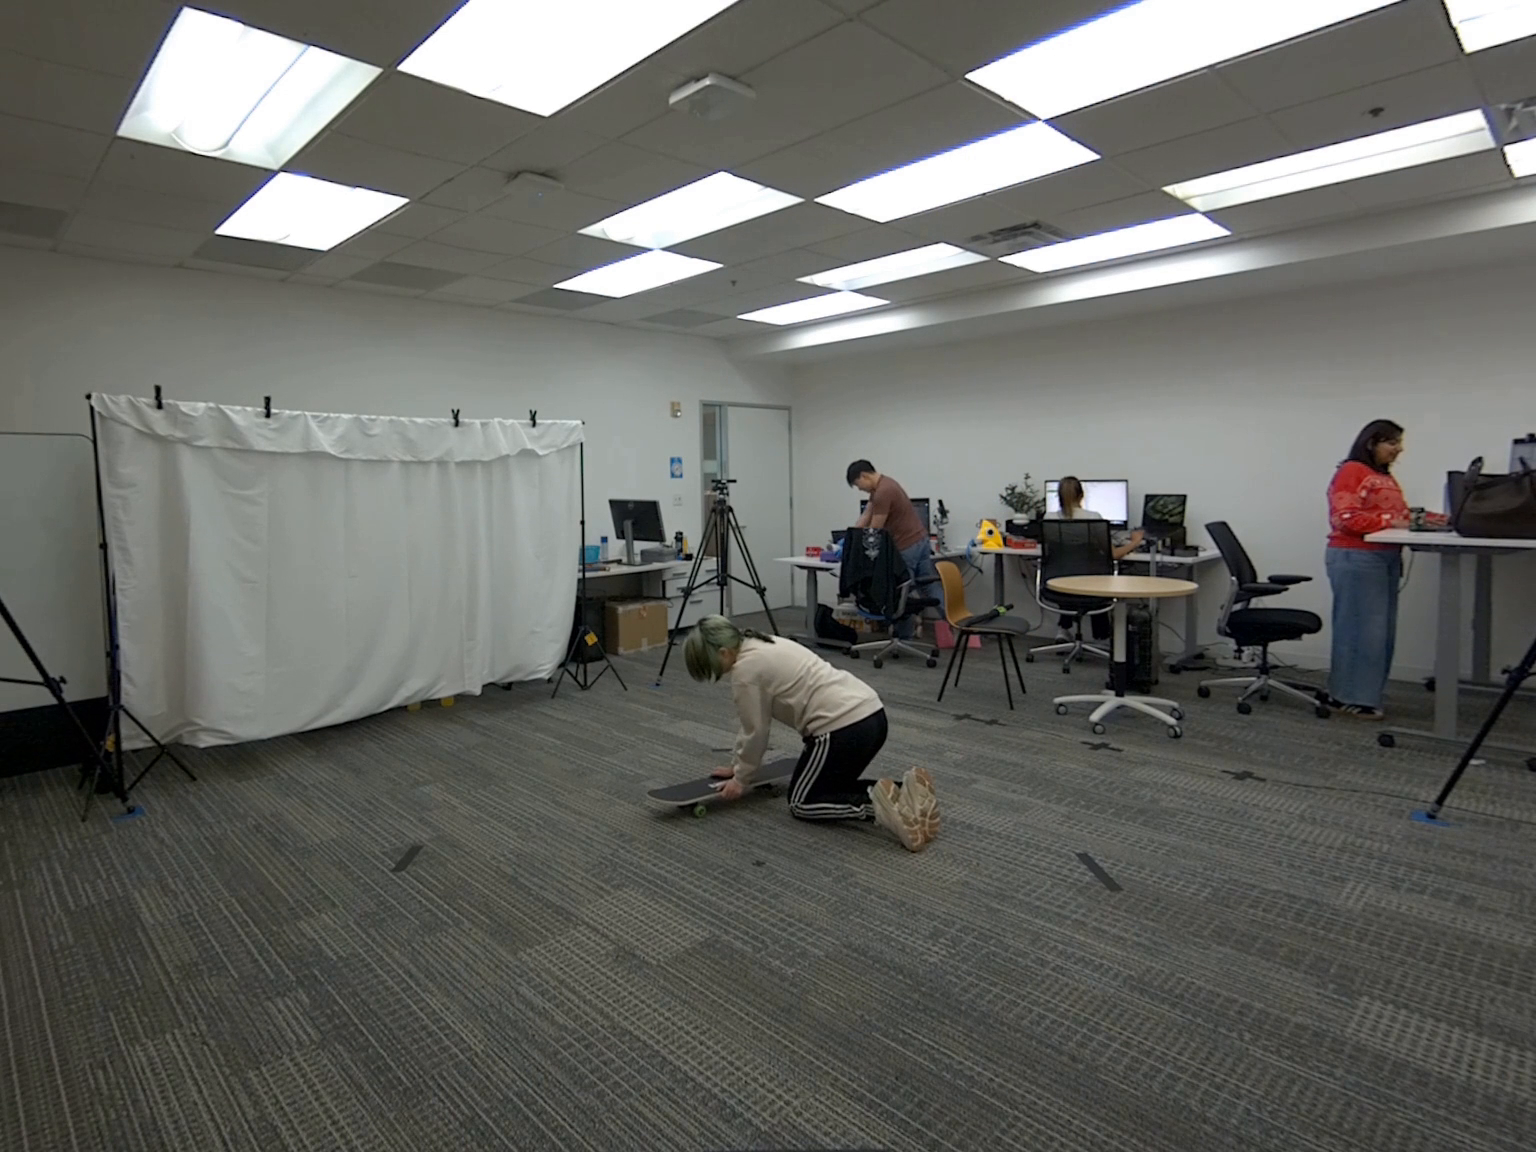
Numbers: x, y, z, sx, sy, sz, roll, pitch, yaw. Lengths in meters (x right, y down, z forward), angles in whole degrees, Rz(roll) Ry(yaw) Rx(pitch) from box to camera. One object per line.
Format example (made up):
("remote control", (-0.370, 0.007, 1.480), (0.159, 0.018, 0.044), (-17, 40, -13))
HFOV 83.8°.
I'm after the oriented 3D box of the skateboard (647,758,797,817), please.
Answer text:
("skateboard", (-0.169, 0.921, 3.717), (0.767, 0.110, 0.199), (-5, 6, -32))
